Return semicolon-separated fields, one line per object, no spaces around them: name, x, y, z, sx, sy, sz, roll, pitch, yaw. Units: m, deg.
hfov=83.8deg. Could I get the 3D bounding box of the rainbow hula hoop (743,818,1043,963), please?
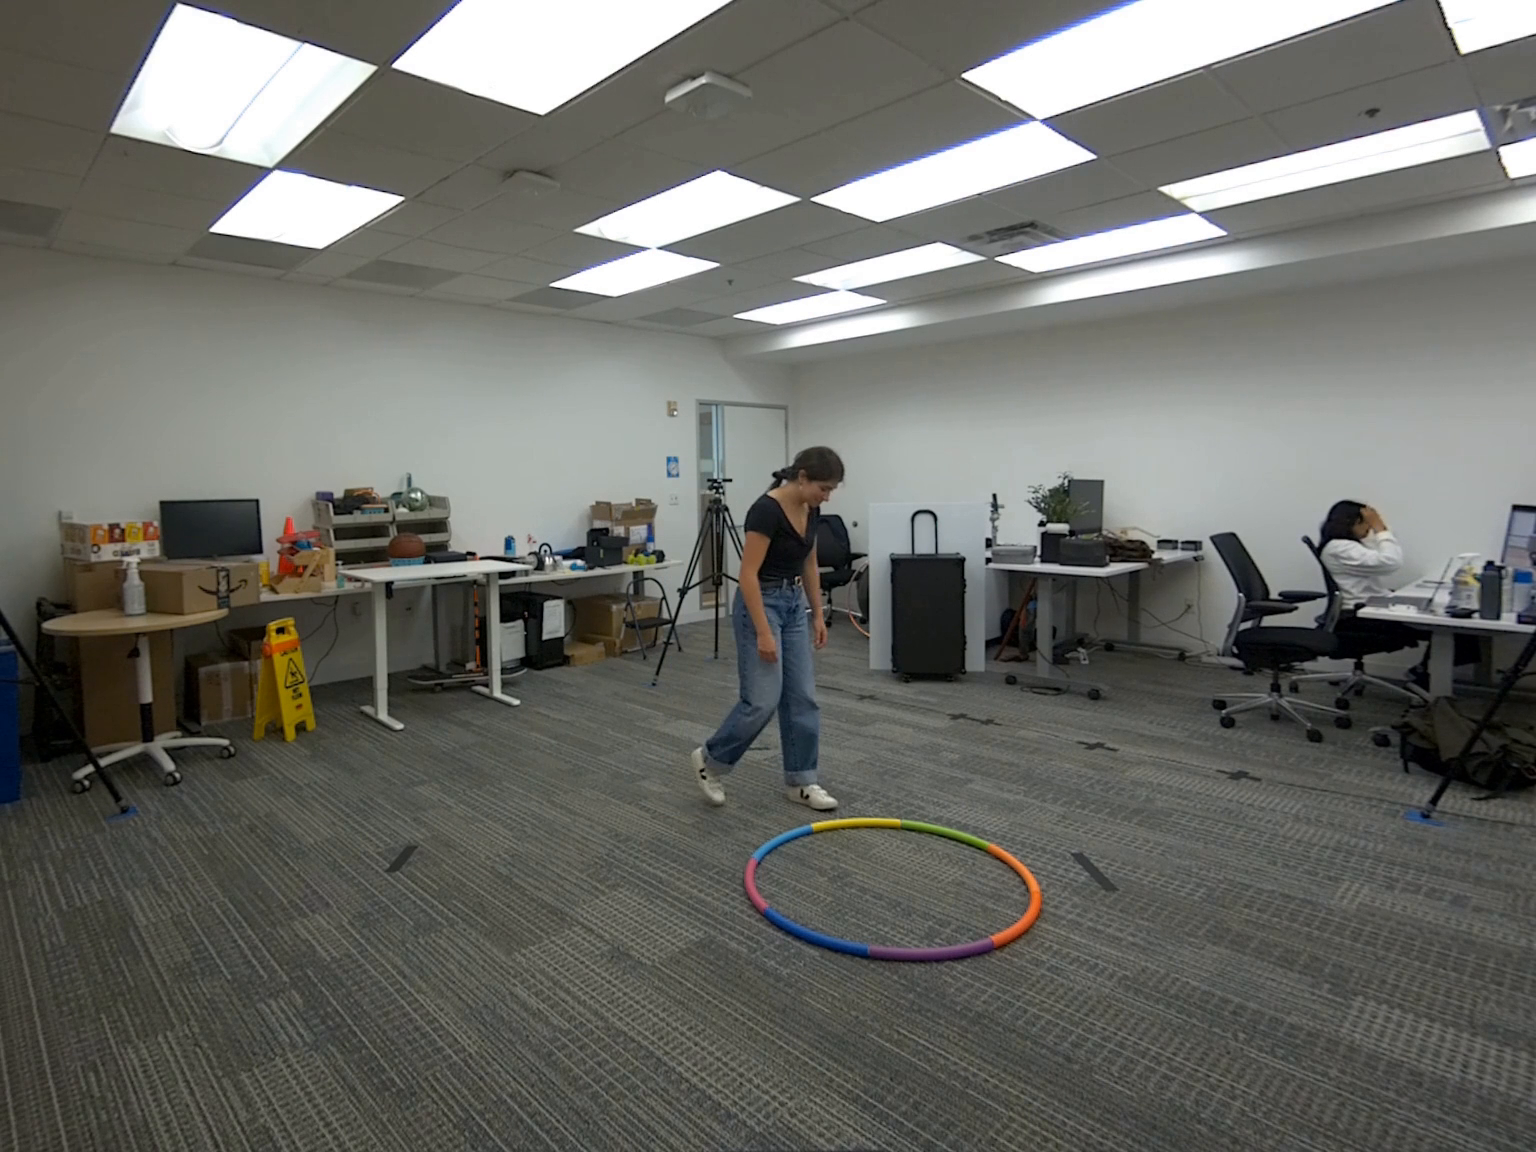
rainbow hula hoop;0.407;1.028;2.945;0.978;0.035;0.984;-2;7;-2
